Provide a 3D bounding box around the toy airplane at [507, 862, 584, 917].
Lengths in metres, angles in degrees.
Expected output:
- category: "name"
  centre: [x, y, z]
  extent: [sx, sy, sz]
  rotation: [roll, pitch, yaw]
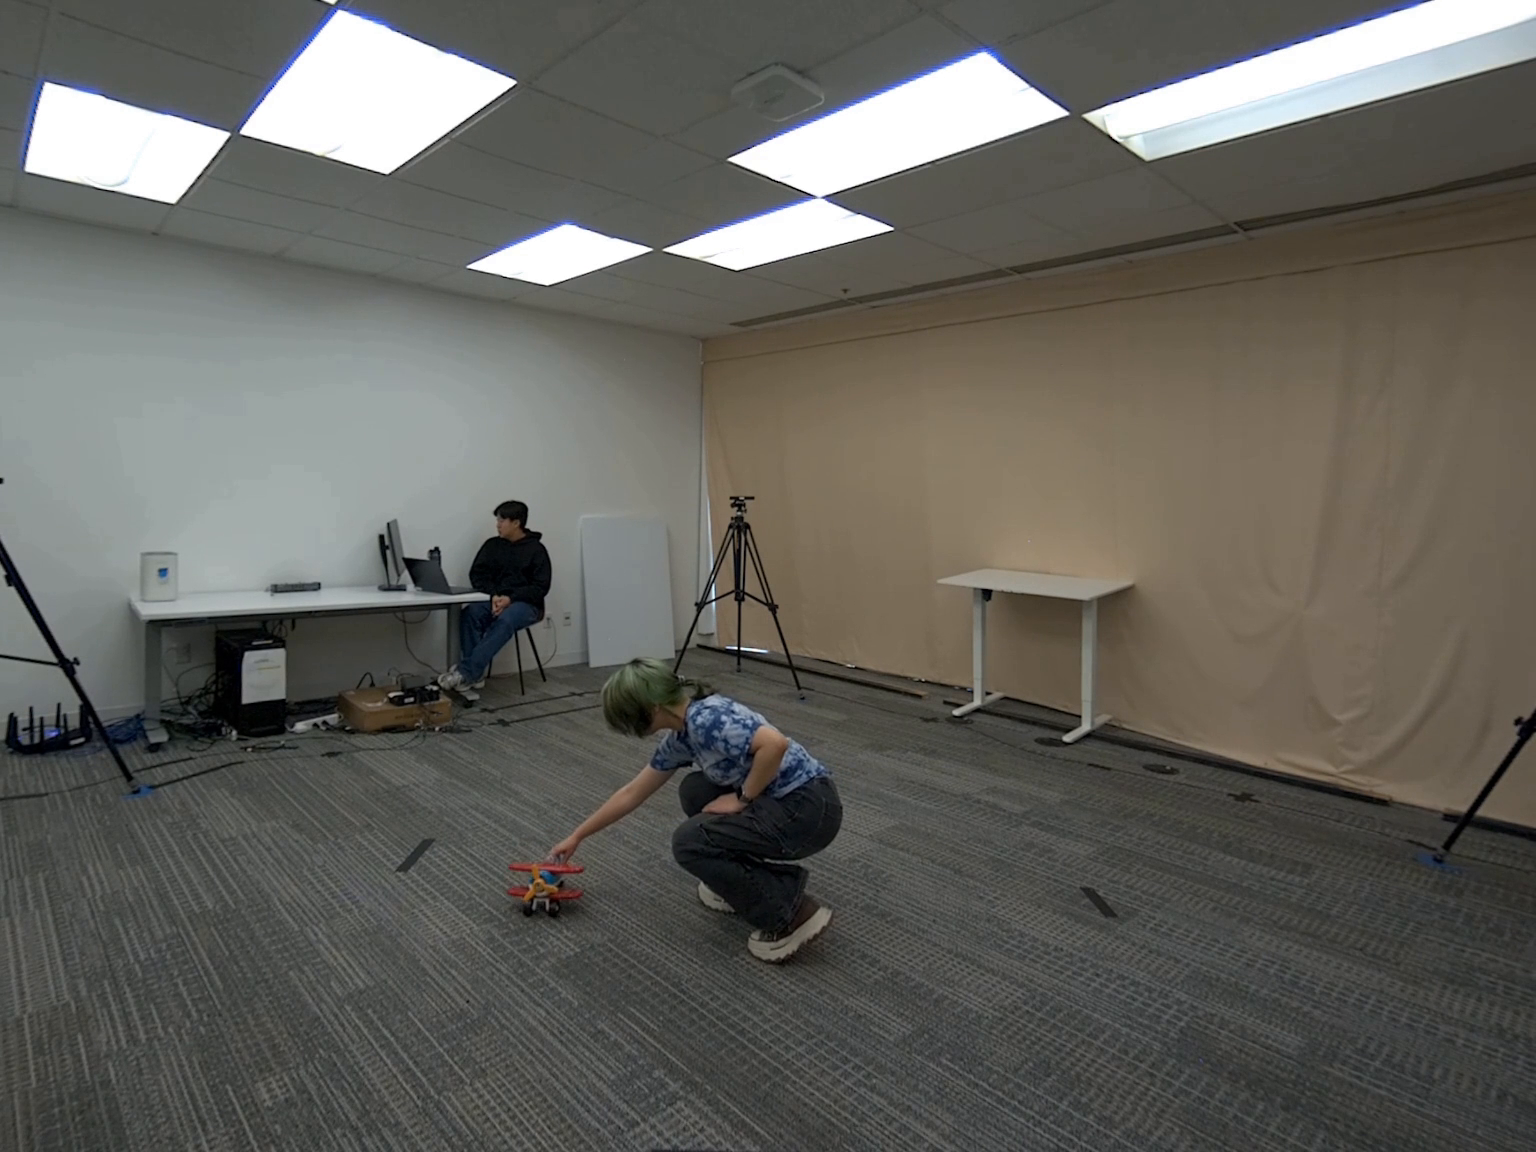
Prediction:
- category: "toy airplane"
  centre: [-0.766, 1.037, 2.858]
  extent: [0.246, 0.156, 0.265]
  rotation: [0, 5, -26]
